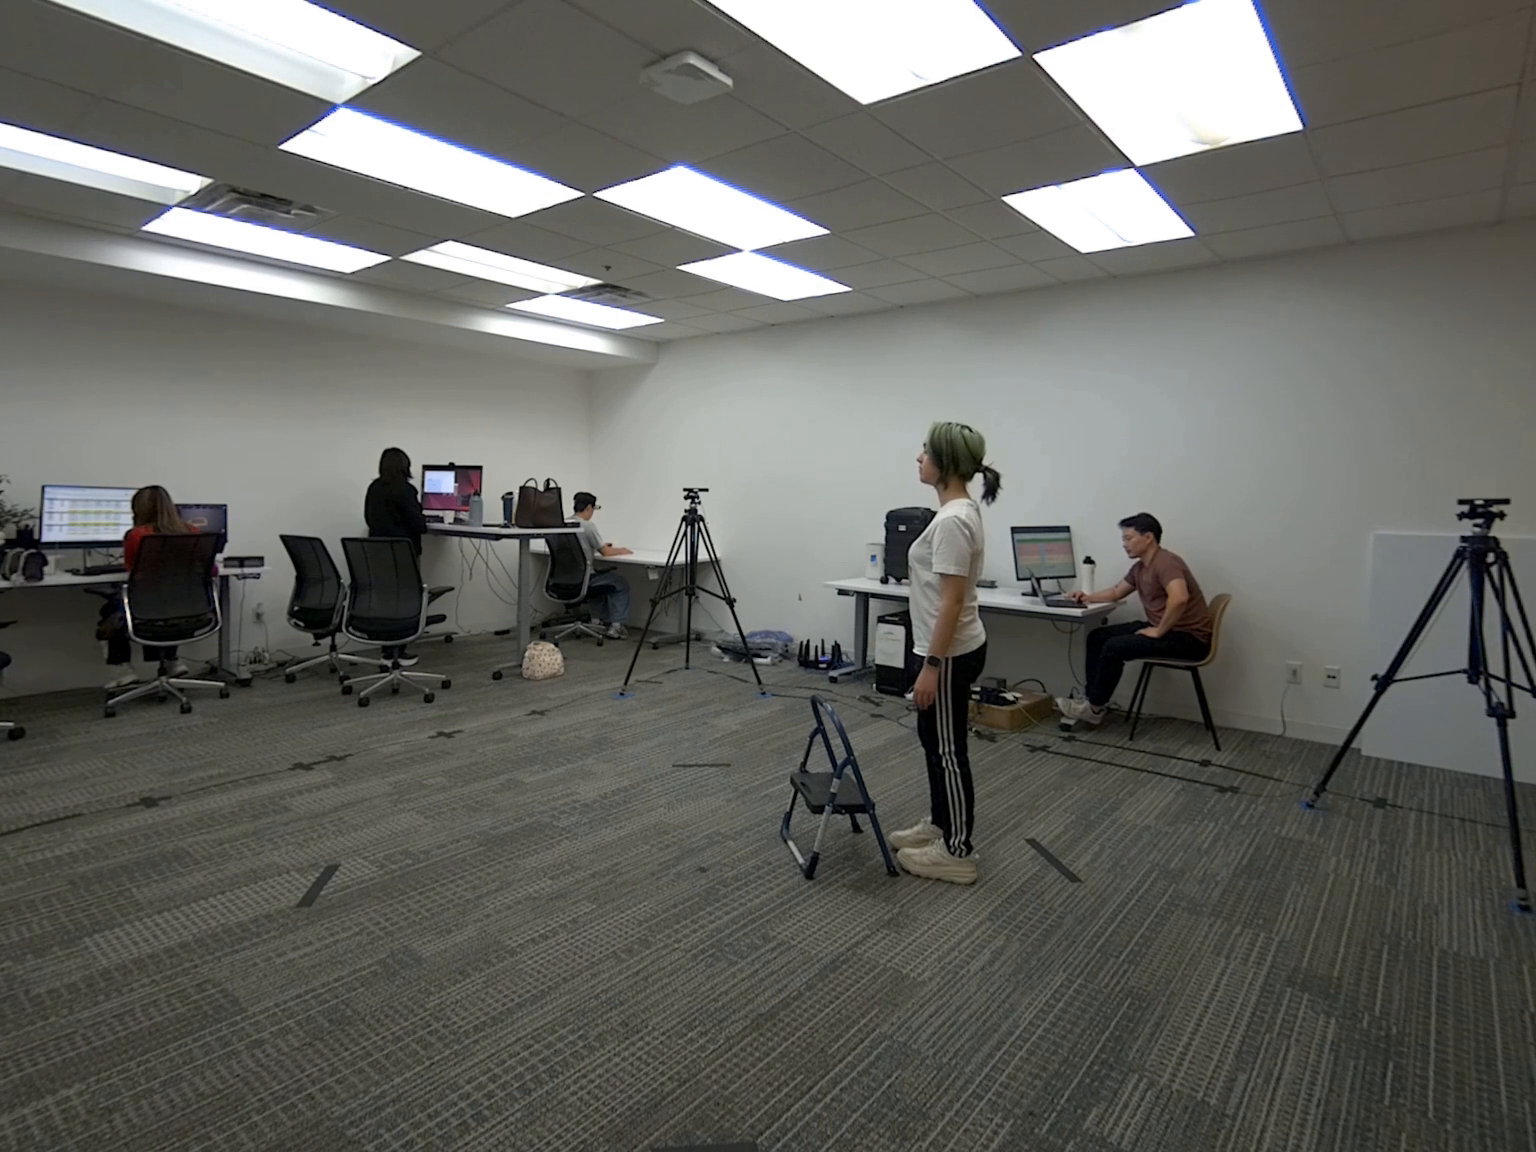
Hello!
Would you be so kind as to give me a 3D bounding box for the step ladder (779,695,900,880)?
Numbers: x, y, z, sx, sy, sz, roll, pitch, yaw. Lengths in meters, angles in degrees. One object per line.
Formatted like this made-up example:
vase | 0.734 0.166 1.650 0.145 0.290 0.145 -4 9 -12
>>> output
step ladder | 0.259 0.768 3.260 0.345 0.604 0.437 0 5 -11
